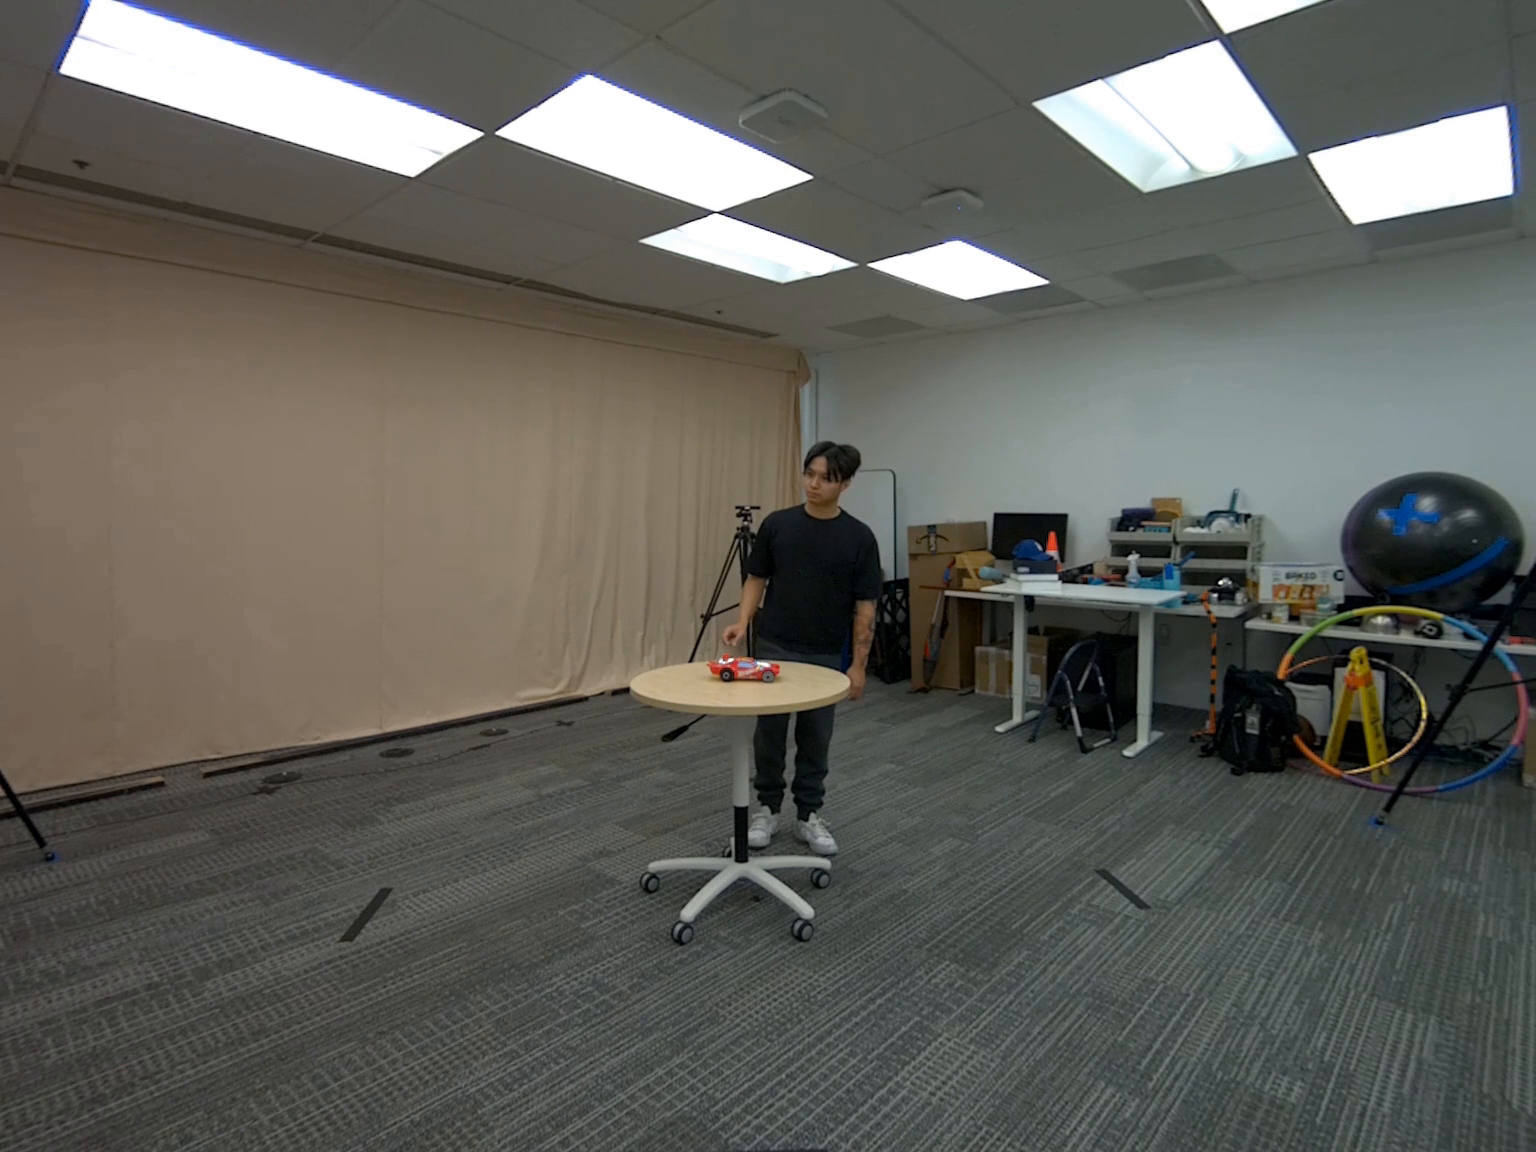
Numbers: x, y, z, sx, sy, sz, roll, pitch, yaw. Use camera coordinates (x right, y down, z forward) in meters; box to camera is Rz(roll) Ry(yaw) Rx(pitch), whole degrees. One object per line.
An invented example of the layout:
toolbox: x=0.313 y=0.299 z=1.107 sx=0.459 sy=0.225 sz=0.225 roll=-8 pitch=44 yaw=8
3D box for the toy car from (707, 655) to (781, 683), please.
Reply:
toy car: x=-0.086 y=0.331 z=2.959 sx=0.257 sy=0.083 sz=0.129 roll=11 pitch=6 yaw=7
